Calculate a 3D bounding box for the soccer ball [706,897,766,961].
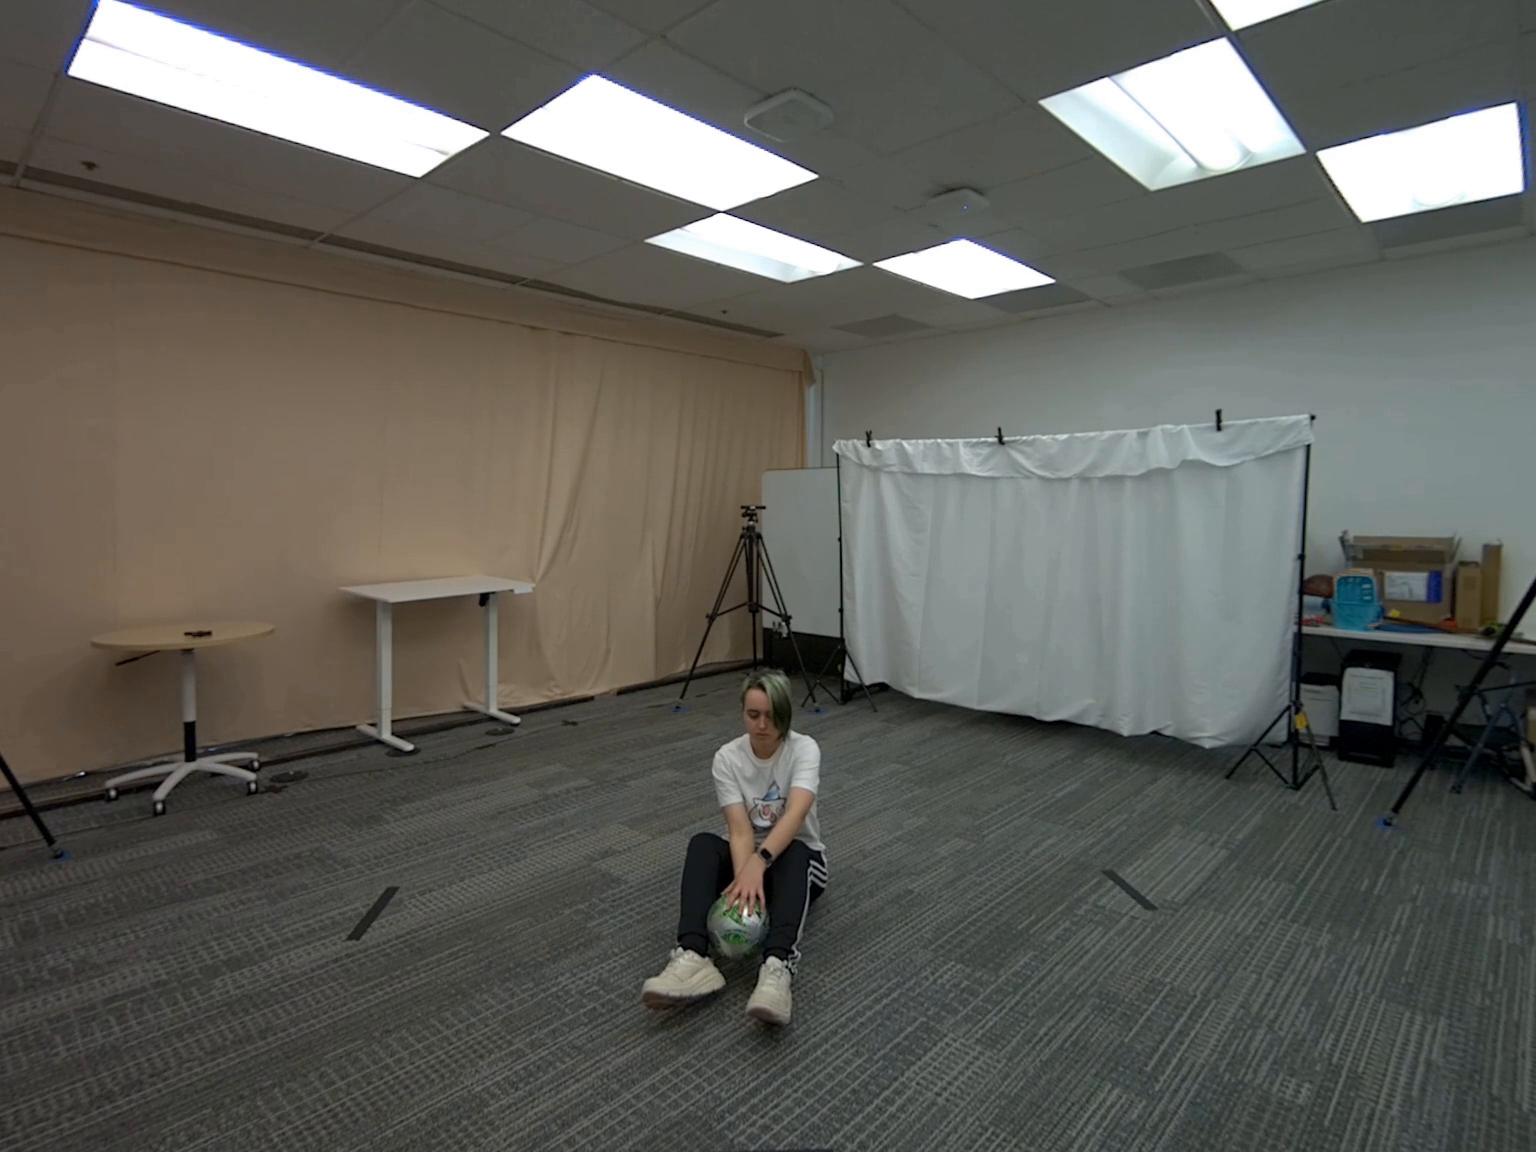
[{"bbox_3d":[-0.077,1.019,2.469,0.187,0.187,0.188,0,4,-2],"label":"soccer ball"}]
